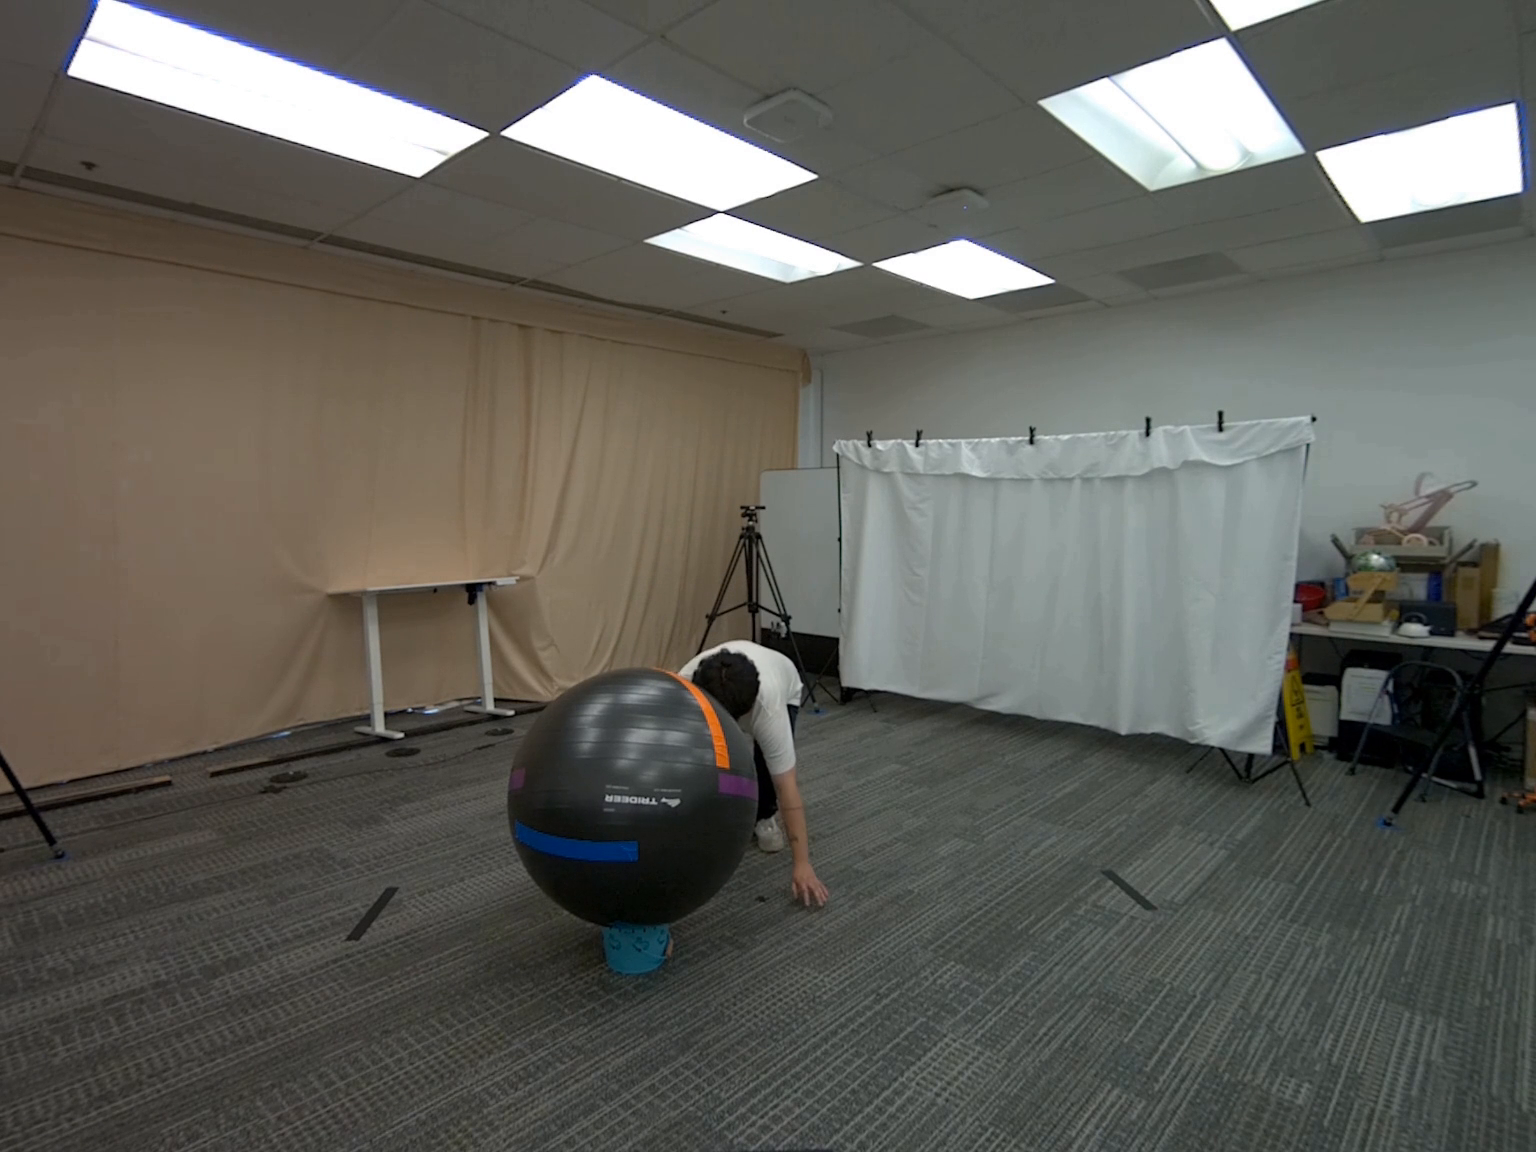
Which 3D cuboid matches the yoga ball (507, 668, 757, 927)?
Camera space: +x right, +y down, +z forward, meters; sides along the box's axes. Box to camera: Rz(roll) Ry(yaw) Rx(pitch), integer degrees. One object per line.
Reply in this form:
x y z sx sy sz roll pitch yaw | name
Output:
-0.406 0.668 2.588 0.757 0.756 0.761 0 4 -2 | yoga ball
